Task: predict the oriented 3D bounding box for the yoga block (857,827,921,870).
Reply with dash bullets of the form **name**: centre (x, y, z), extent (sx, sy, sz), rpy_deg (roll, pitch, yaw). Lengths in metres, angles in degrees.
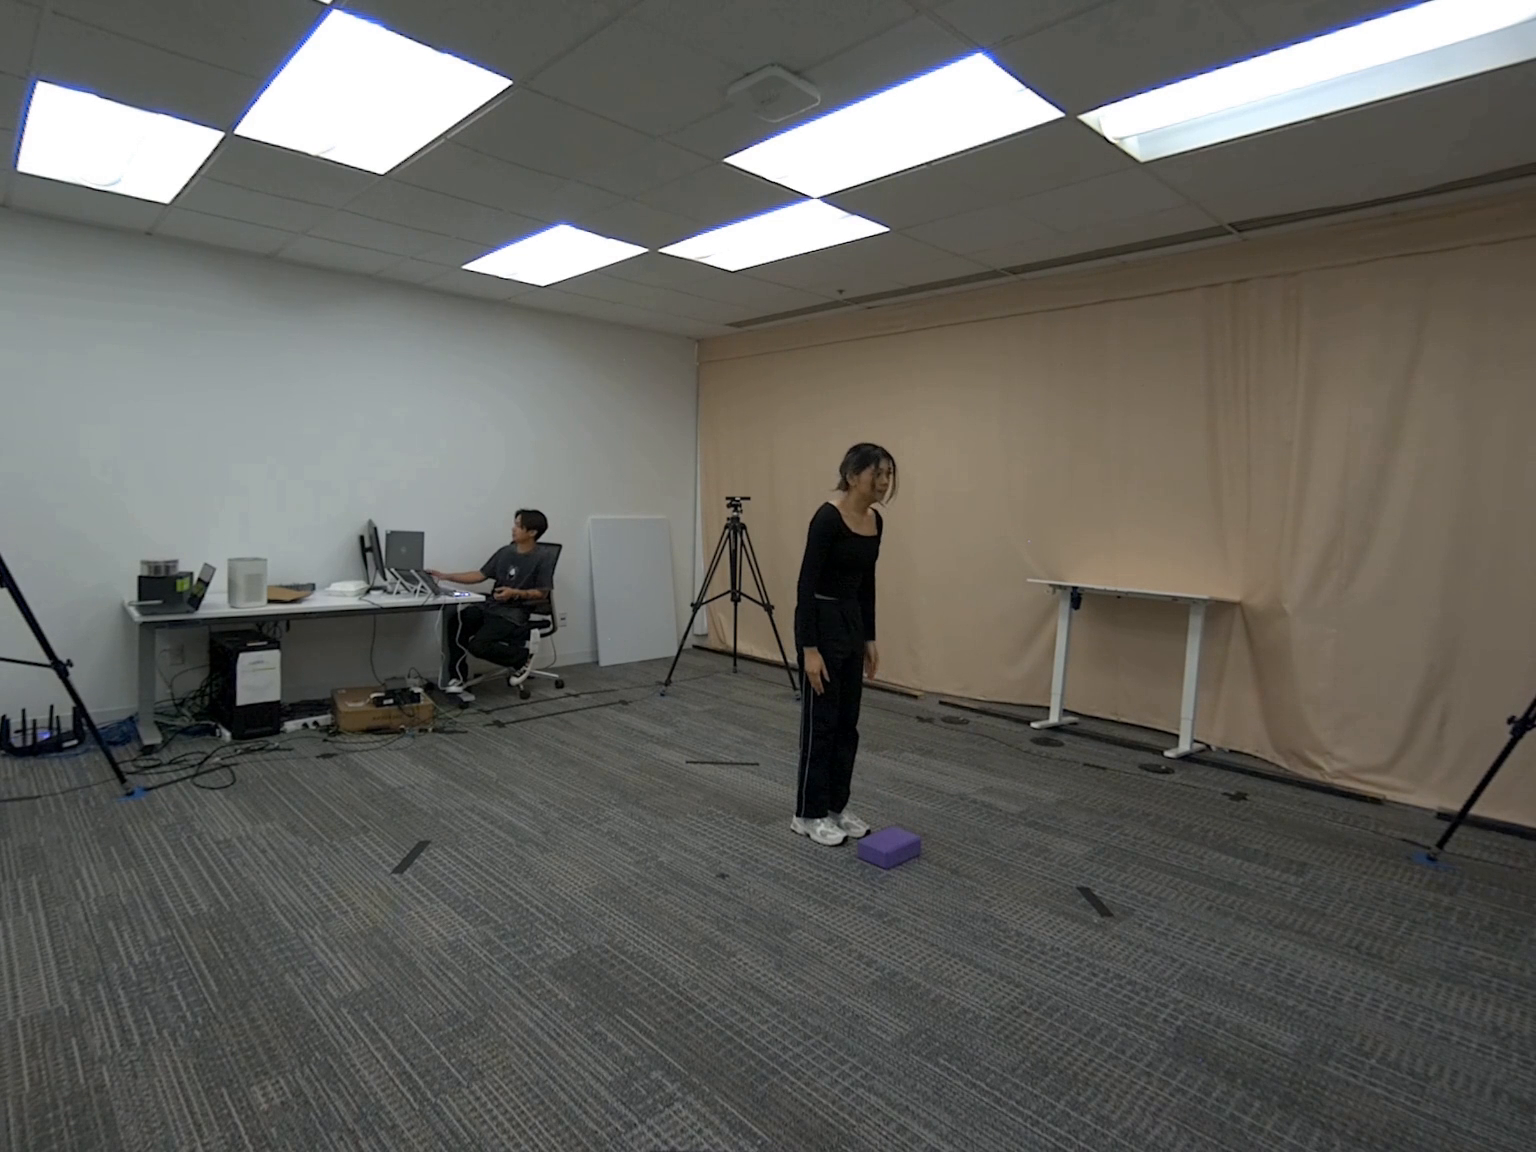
- **yoga block**: centre (0.468, 1.061, 3.306), extent (0.224, 0.076, 0.153), rpy_deg (-3, 8, -43)
